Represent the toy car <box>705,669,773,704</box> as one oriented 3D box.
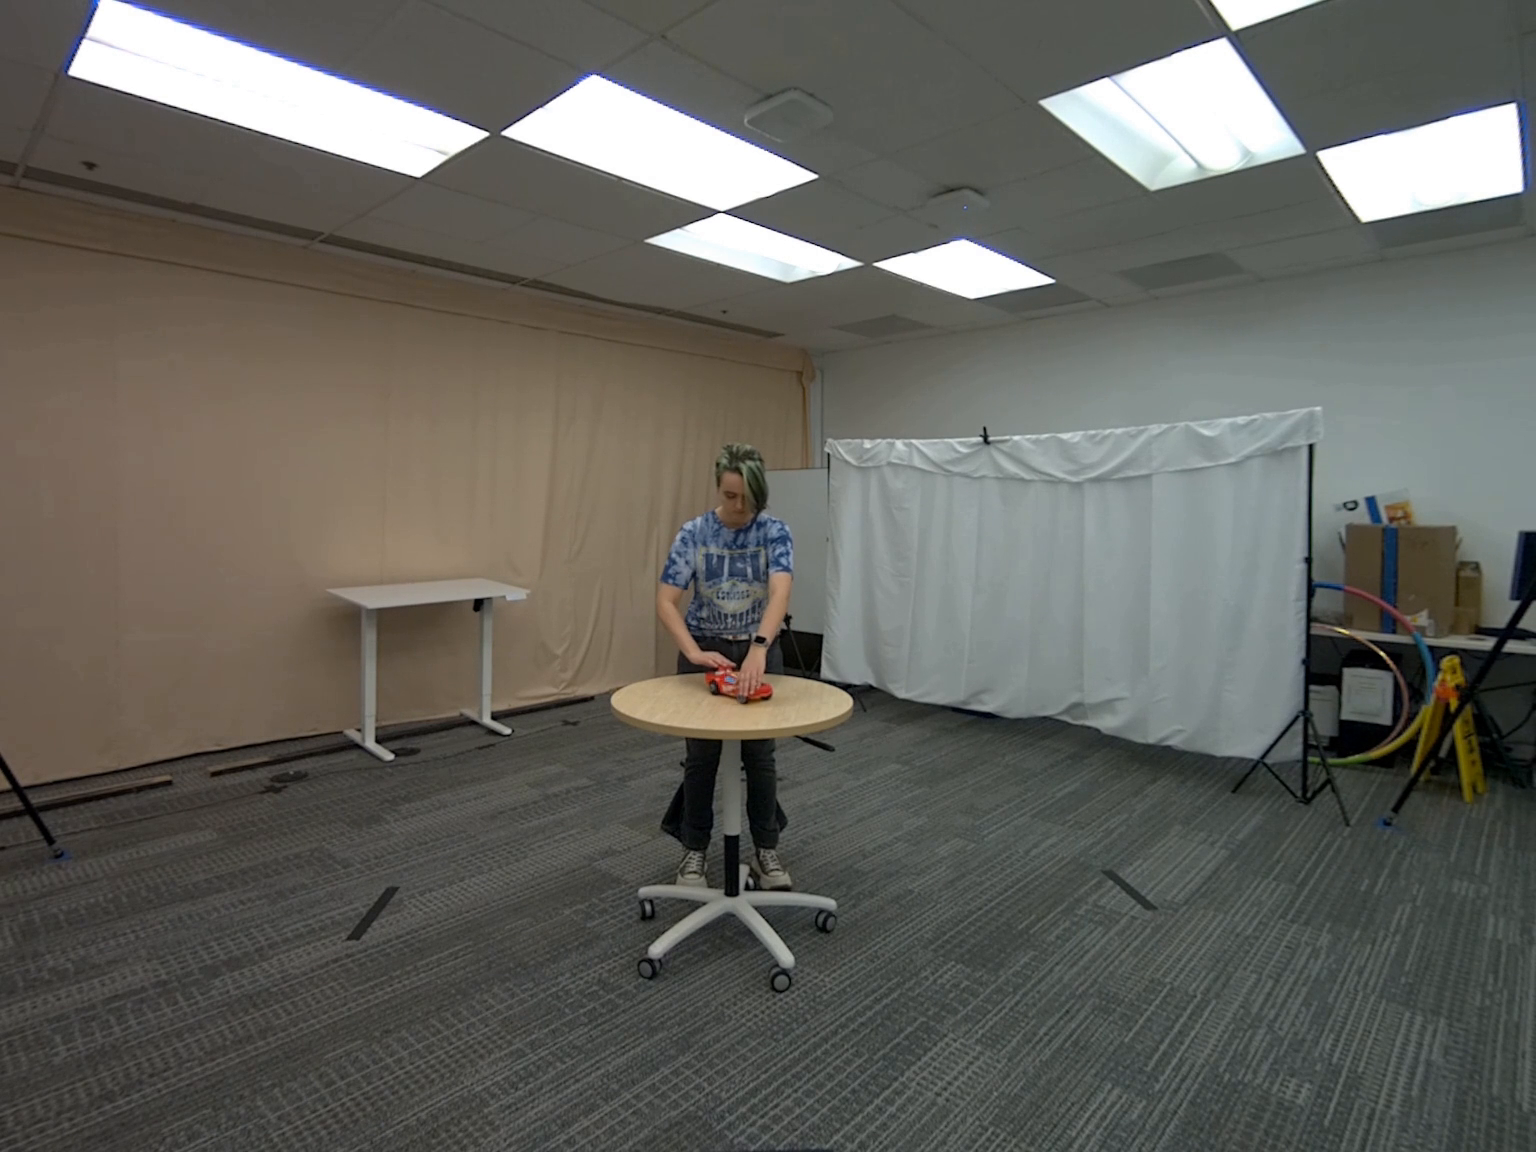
[{"bbox_3d":[-0.103,0.351,2.707,0.126,0.082,0.264,-4,18,-37],"label":"toy car"}]
